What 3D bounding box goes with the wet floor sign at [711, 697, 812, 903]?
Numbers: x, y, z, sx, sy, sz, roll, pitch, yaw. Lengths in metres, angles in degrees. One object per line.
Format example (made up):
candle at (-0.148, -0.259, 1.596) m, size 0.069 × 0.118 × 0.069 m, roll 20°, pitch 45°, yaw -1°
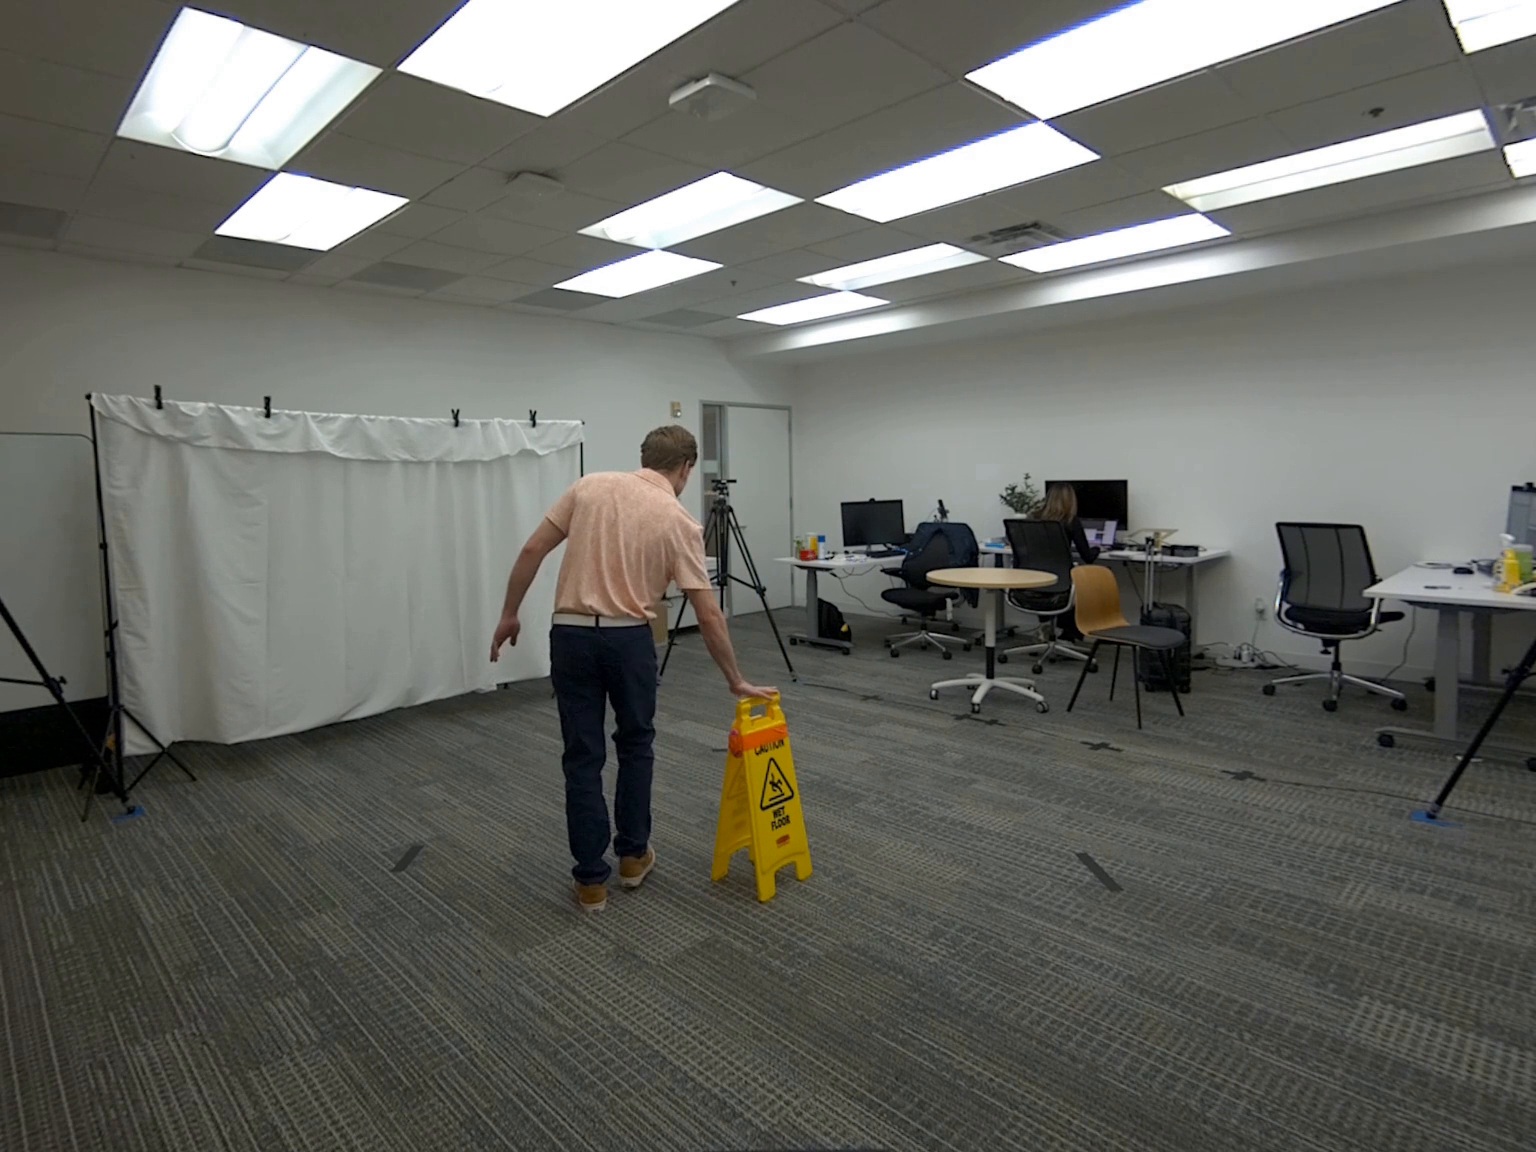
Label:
wet floor sign at (-0.030, 0.732, 2.986) m, size 0.298 × 0.644 × 0.275 m, roll 2°, pitch 4°, yaw 42°
